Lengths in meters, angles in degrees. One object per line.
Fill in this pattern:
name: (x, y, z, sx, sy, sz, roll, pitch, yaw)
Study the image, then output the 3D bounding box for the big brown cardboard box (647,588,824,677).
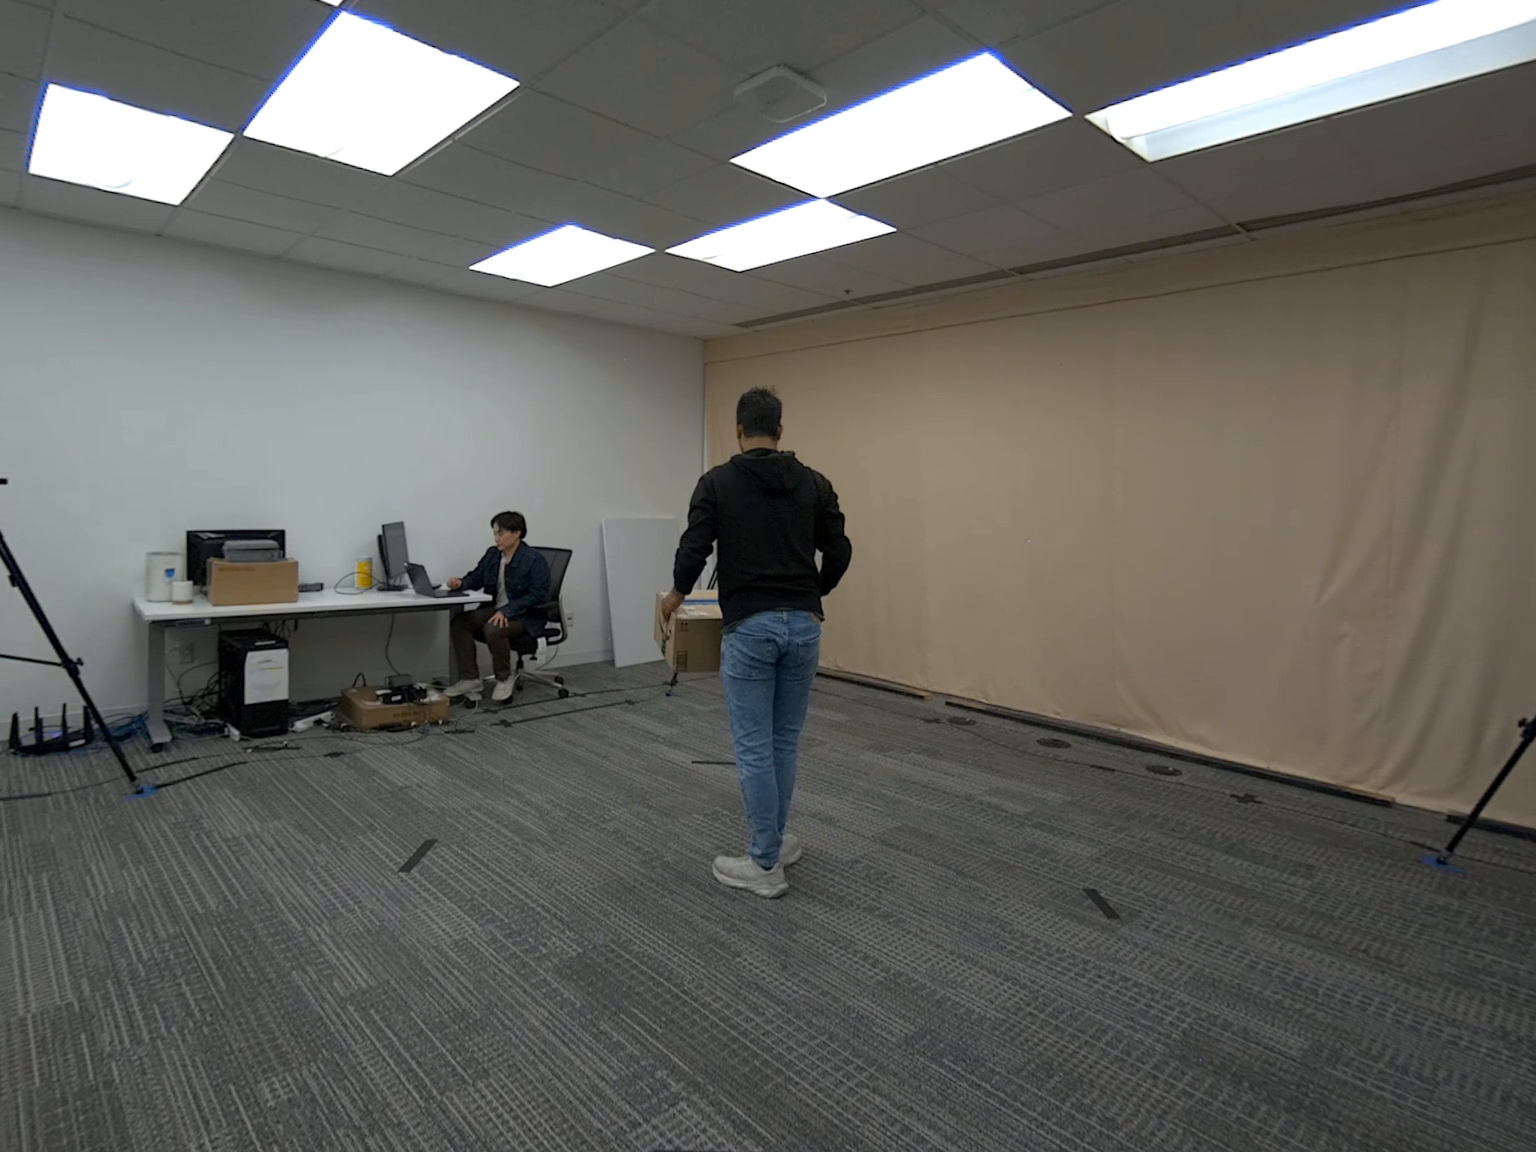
big brown cardboard box: (-0.146, 0.218, 3.404, 0.580, 0.231, 0.426, 2, 12, -18)
